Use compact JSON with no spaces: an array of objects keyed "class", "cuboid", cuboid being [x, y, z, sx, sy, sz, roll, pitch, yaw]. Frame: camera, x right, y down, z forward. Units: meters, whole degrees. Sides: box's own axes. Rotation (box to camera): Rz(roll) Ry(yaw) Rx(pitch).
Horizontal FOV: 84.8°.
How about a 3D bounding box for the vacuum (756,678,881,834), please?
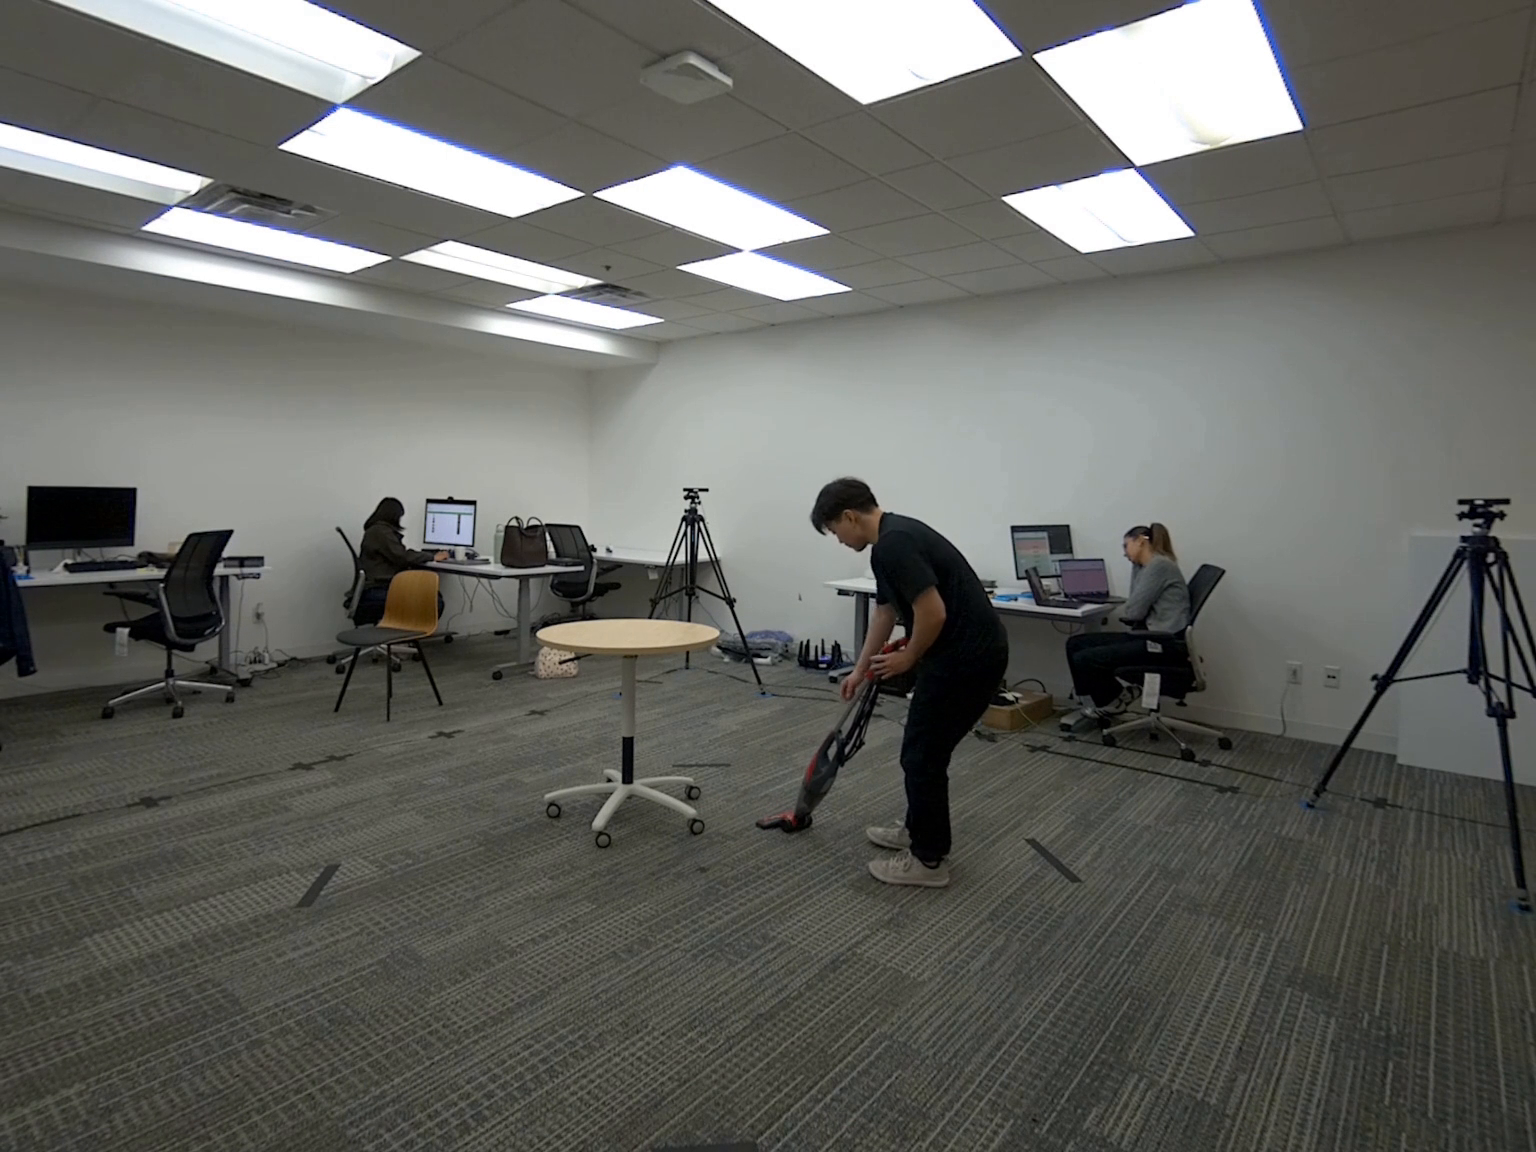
[{"class":"vacuum","cuboid":[0.260,0.632,3.278,0.246,1.036,0.149,-12,47,-43]}]
